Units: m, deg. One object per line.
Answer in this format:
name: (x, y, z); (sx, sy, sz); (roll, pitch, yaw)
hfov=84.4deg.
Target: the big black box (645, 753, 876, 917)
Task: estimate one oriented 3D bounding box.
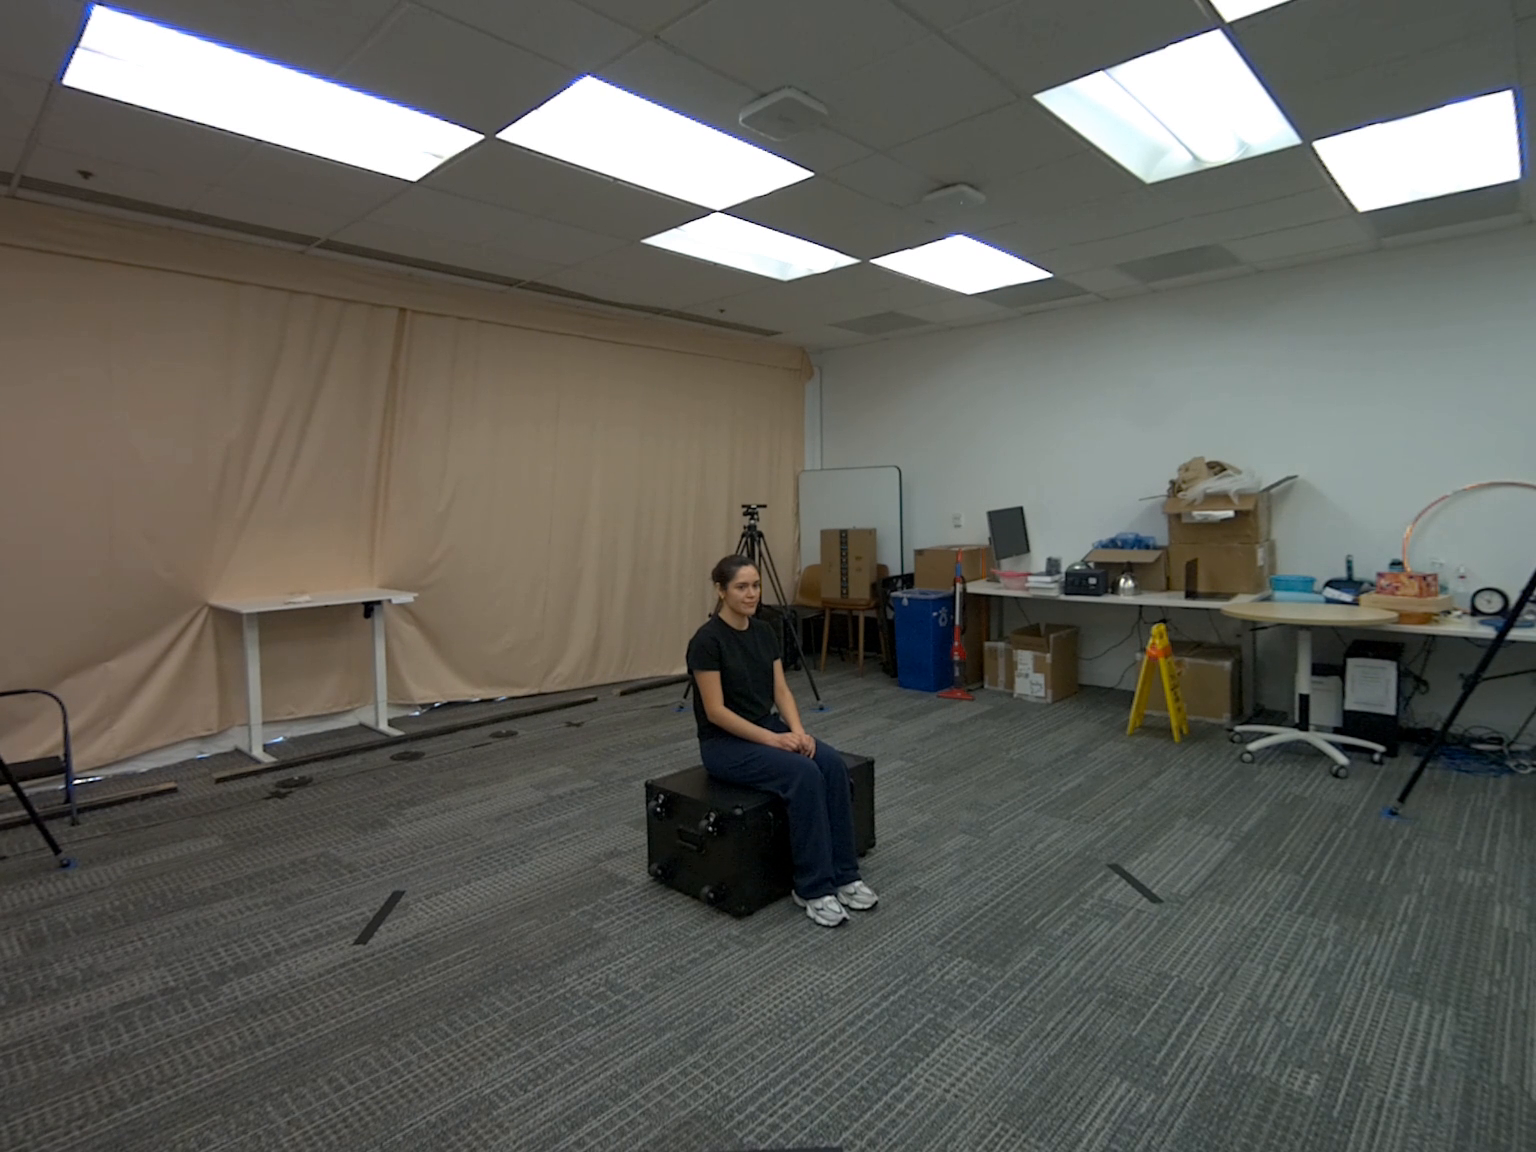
big black box: (-0.023, 0.932, 3.216); (0.538, 0.395, 0.835); (2, 5, 43)
